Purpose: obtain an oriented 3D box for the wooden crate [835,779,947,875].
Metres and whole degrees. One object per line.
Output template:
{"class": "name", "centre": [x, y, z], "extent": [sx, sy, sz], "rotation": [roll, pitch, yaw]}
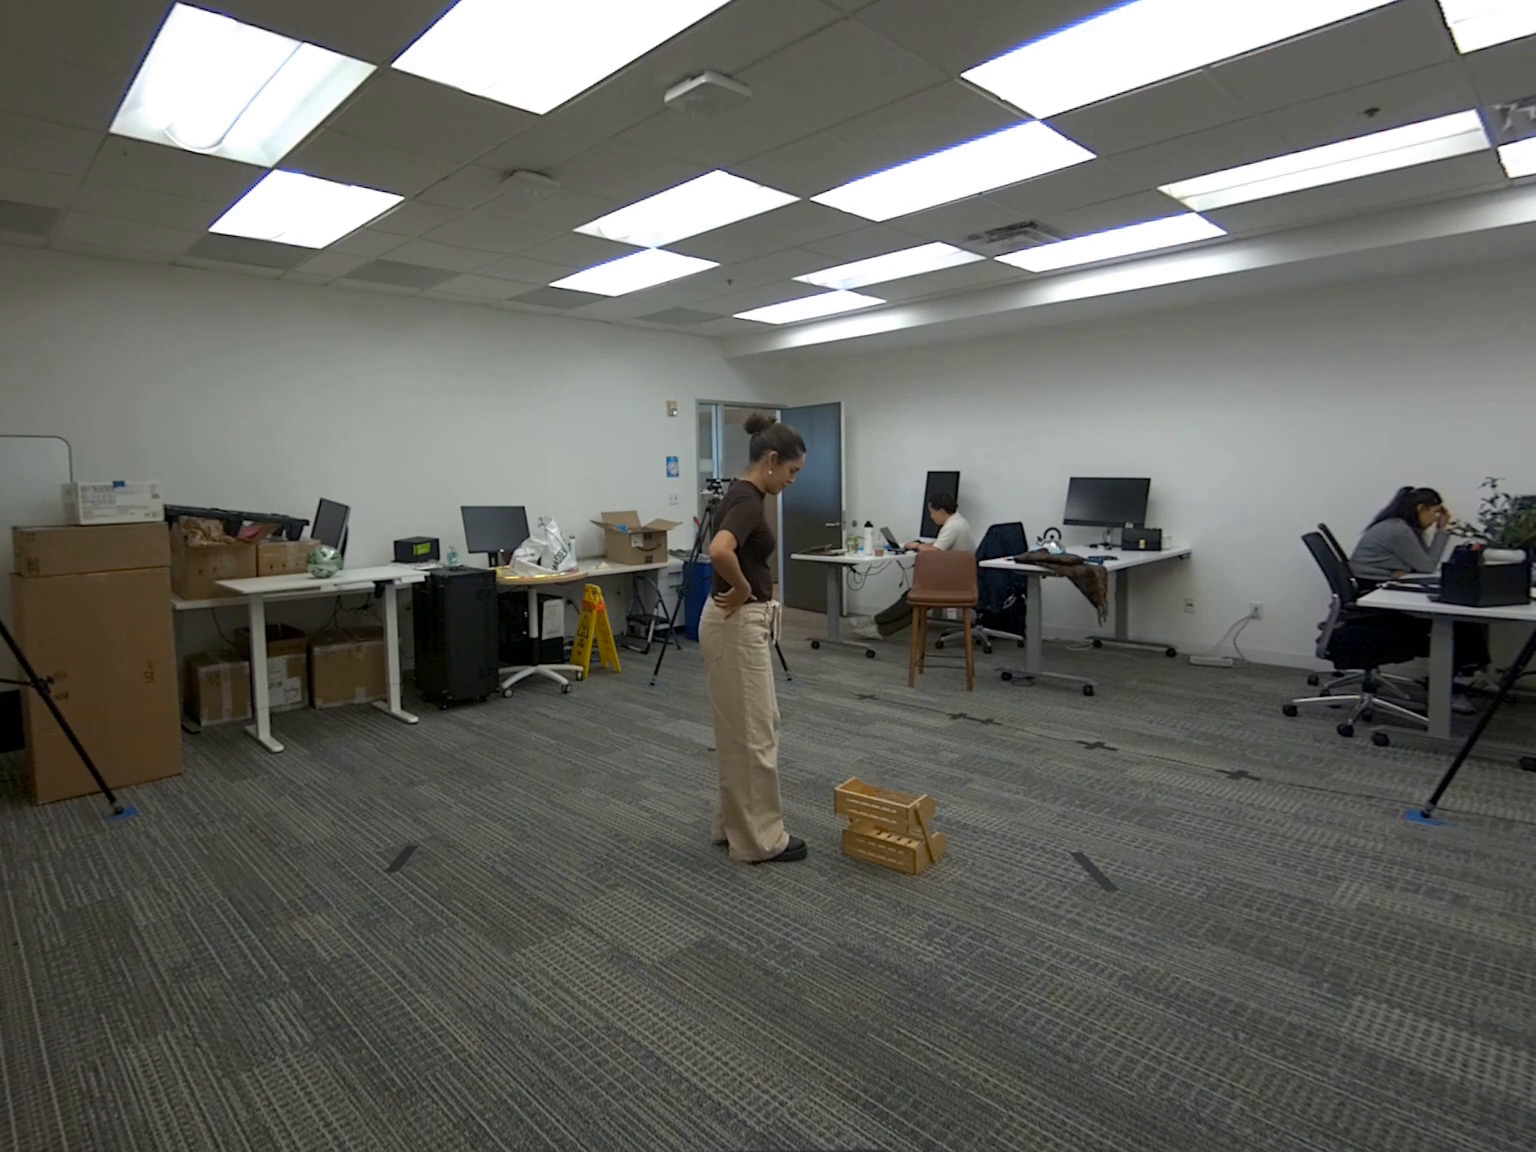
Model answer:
{"class": "wooden crate", "centre": [0.451, 0.890, 3.148], "extent": [0.334, 0.272, 0.294], "rotation": [3, 7, 38]}
